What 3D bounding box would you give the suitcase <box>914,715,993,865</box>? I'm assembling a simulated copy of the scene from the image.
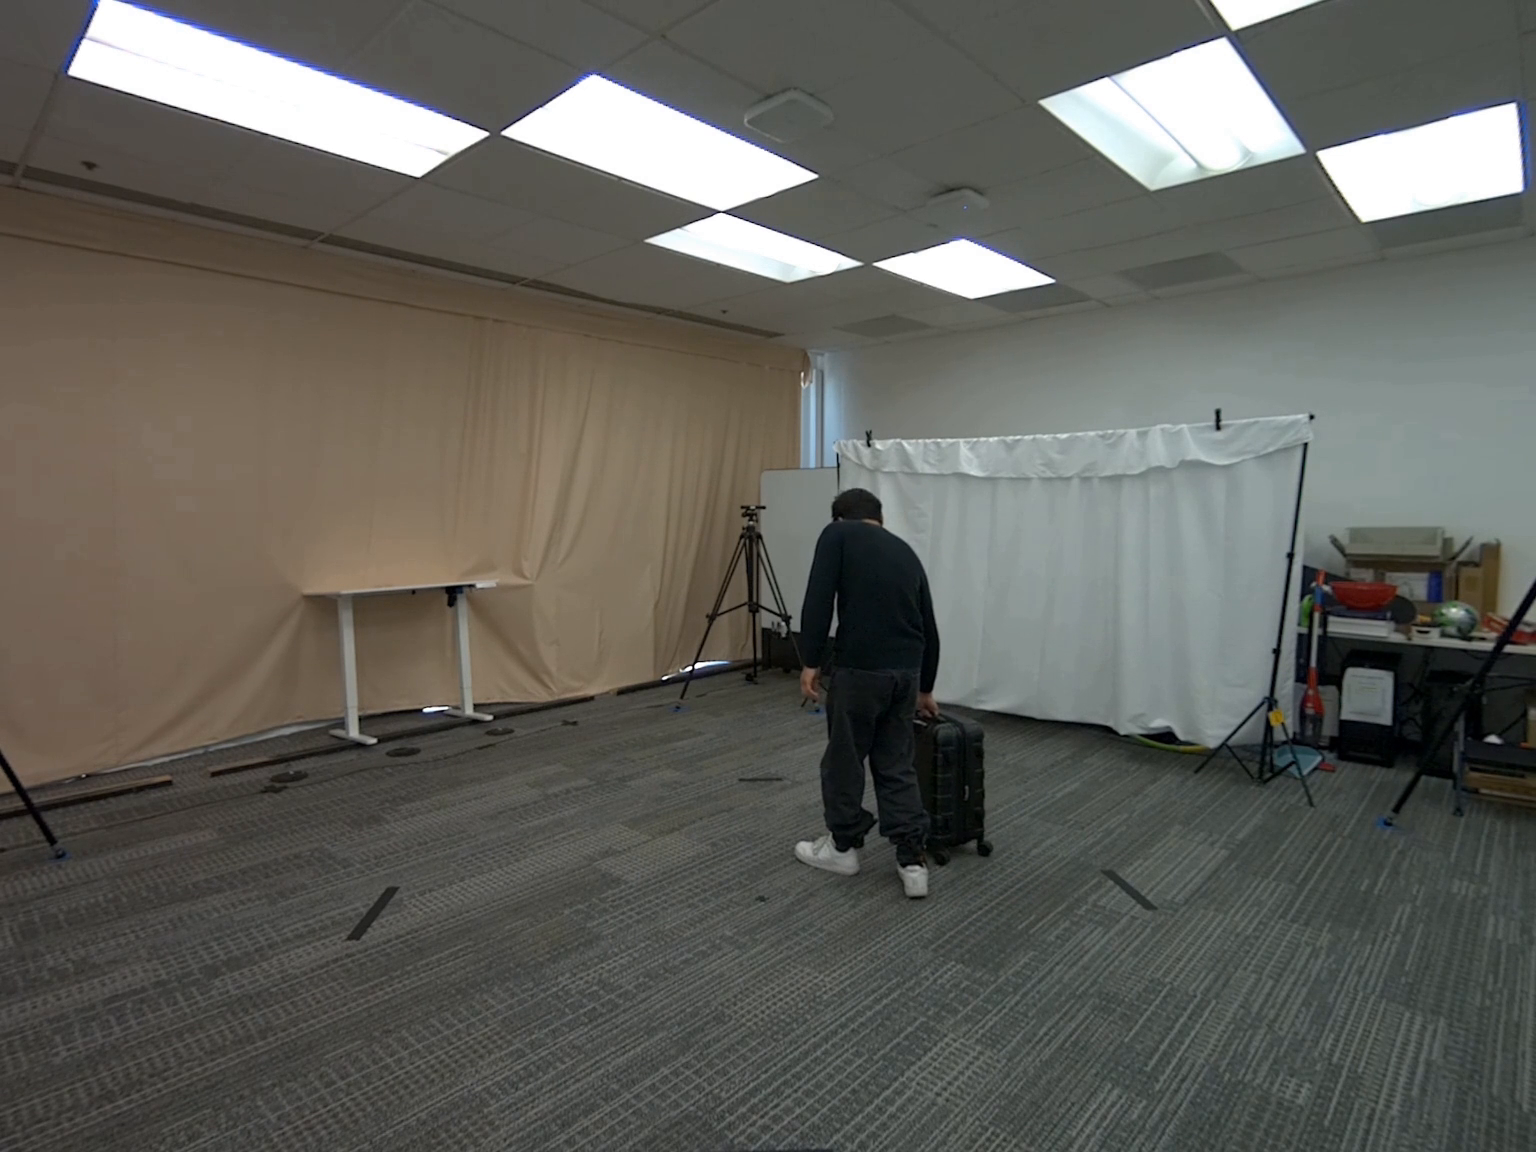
[{"bbox_3d":[0.691,0.827,3.450,0.243,0.549,0.384,-2,2,-24],"label":"suitcase"}]
